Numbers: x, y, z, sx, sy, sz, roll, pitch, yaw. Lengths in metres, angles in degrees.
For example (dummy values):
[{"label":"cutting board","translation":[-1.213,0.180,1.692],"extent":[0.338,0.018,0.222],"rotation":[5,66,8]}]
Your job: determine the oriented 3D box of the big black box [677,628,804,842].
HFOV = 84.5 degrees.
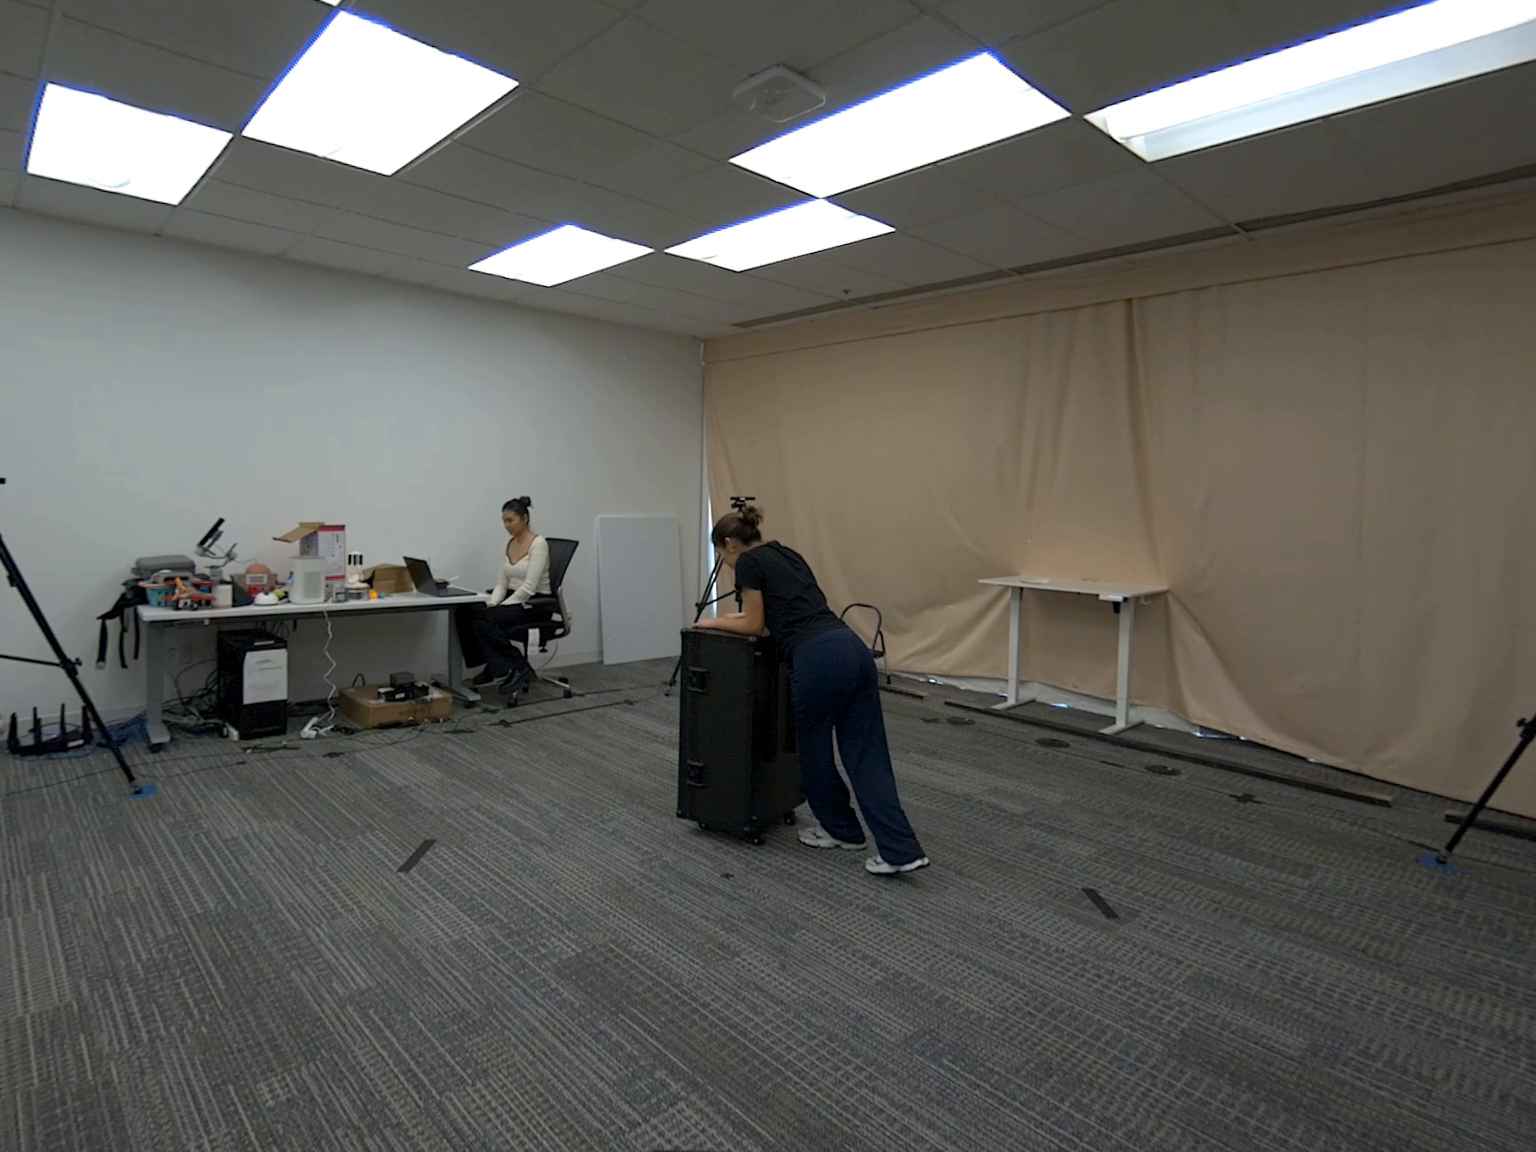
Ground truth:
[{"label":"big black box","translation":[-0.093,0.588,3.555],"extent":[0.405,0.860,0.511],"rotation":[3,3,31]}]
